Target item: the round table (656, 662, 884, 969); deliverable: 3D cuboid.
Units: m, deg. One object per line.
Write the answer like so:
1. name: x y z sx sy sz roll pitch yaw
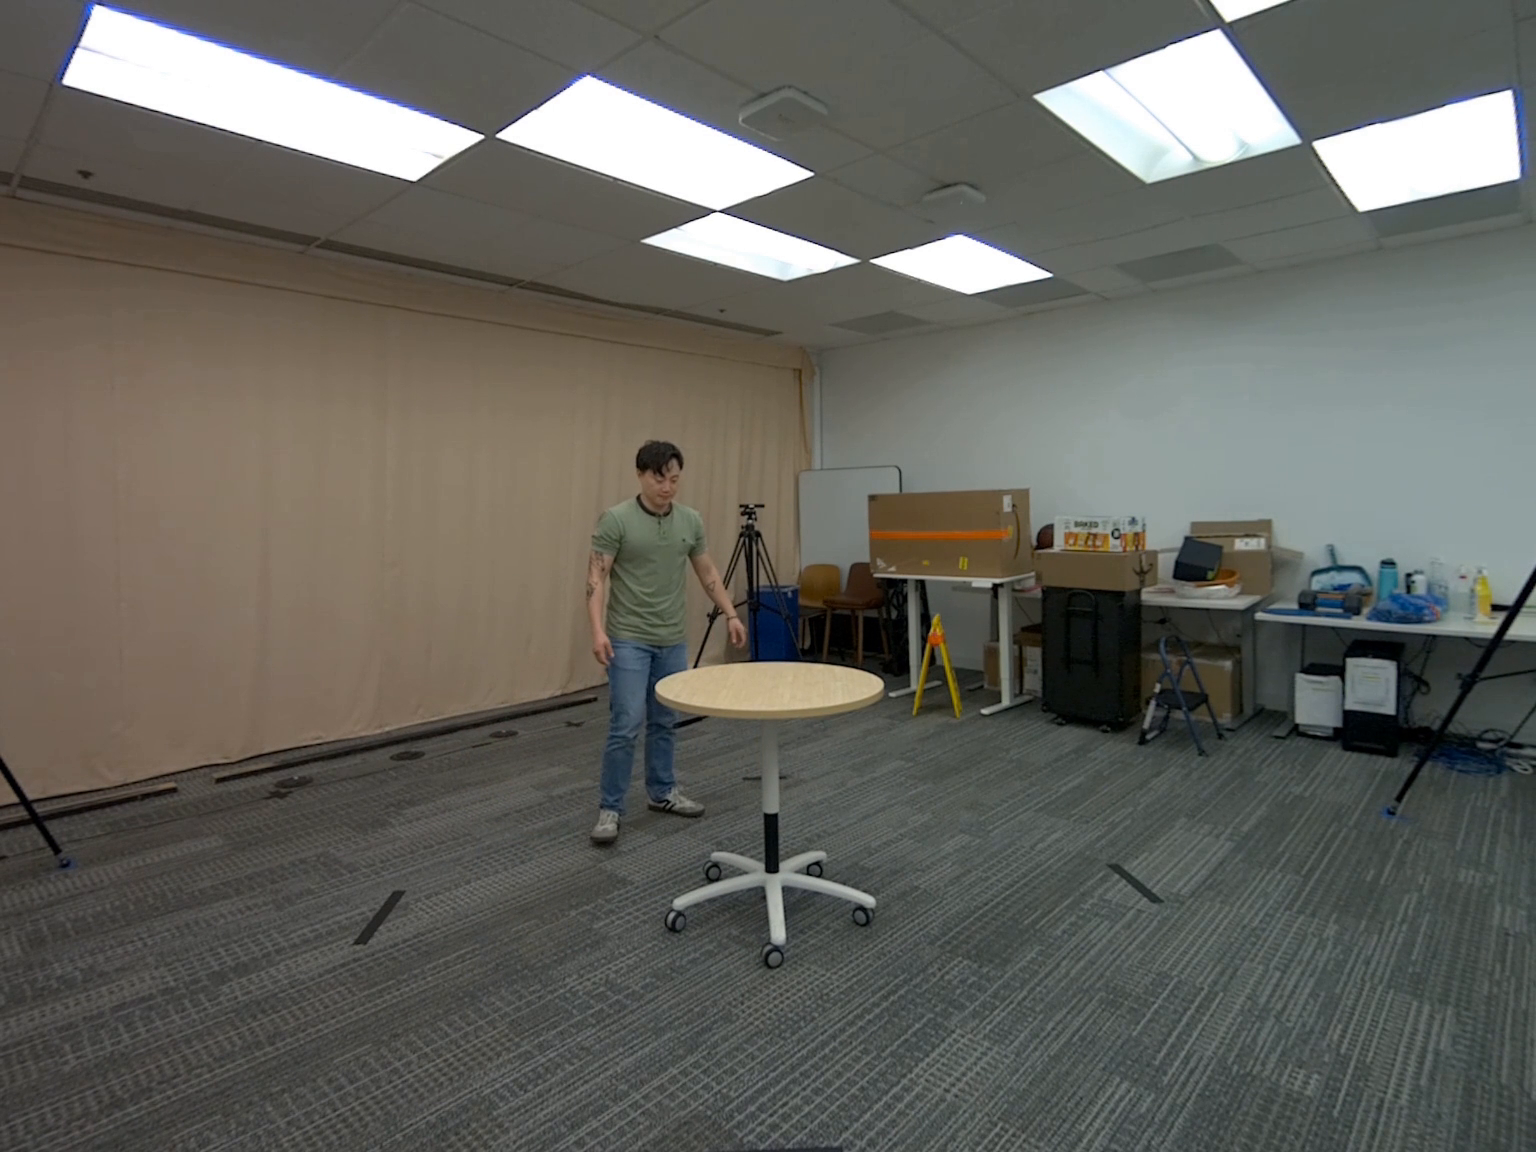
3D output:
1. round table: 0.018 0.758 2.861 0.763 0.792 0.767 -1 4 -2
